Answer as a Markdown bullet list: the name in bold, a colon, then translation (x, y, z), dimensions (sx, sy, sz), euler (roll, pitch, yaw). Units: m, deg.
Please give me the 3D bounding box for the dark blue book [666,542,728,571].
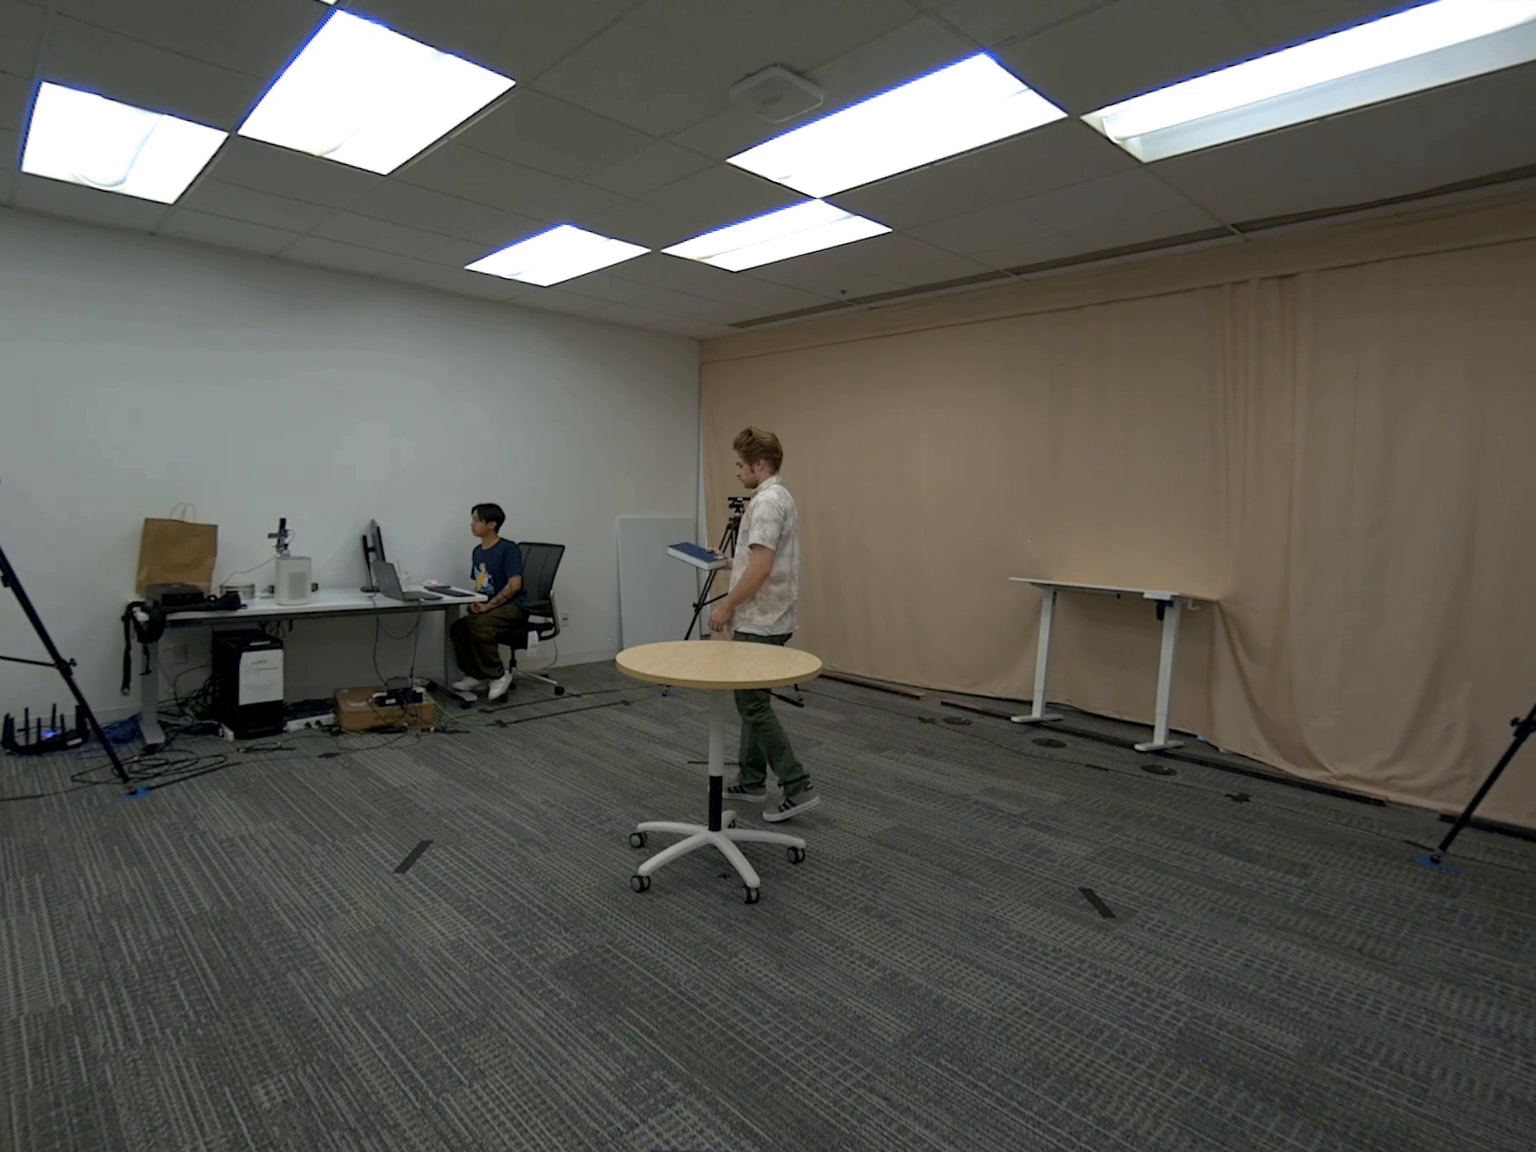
- **dark blue book**: translation (-0.330, -0.094, 3.972), dimensions (0.252, 0.045, 0.160), euler (22, 21, 32)
